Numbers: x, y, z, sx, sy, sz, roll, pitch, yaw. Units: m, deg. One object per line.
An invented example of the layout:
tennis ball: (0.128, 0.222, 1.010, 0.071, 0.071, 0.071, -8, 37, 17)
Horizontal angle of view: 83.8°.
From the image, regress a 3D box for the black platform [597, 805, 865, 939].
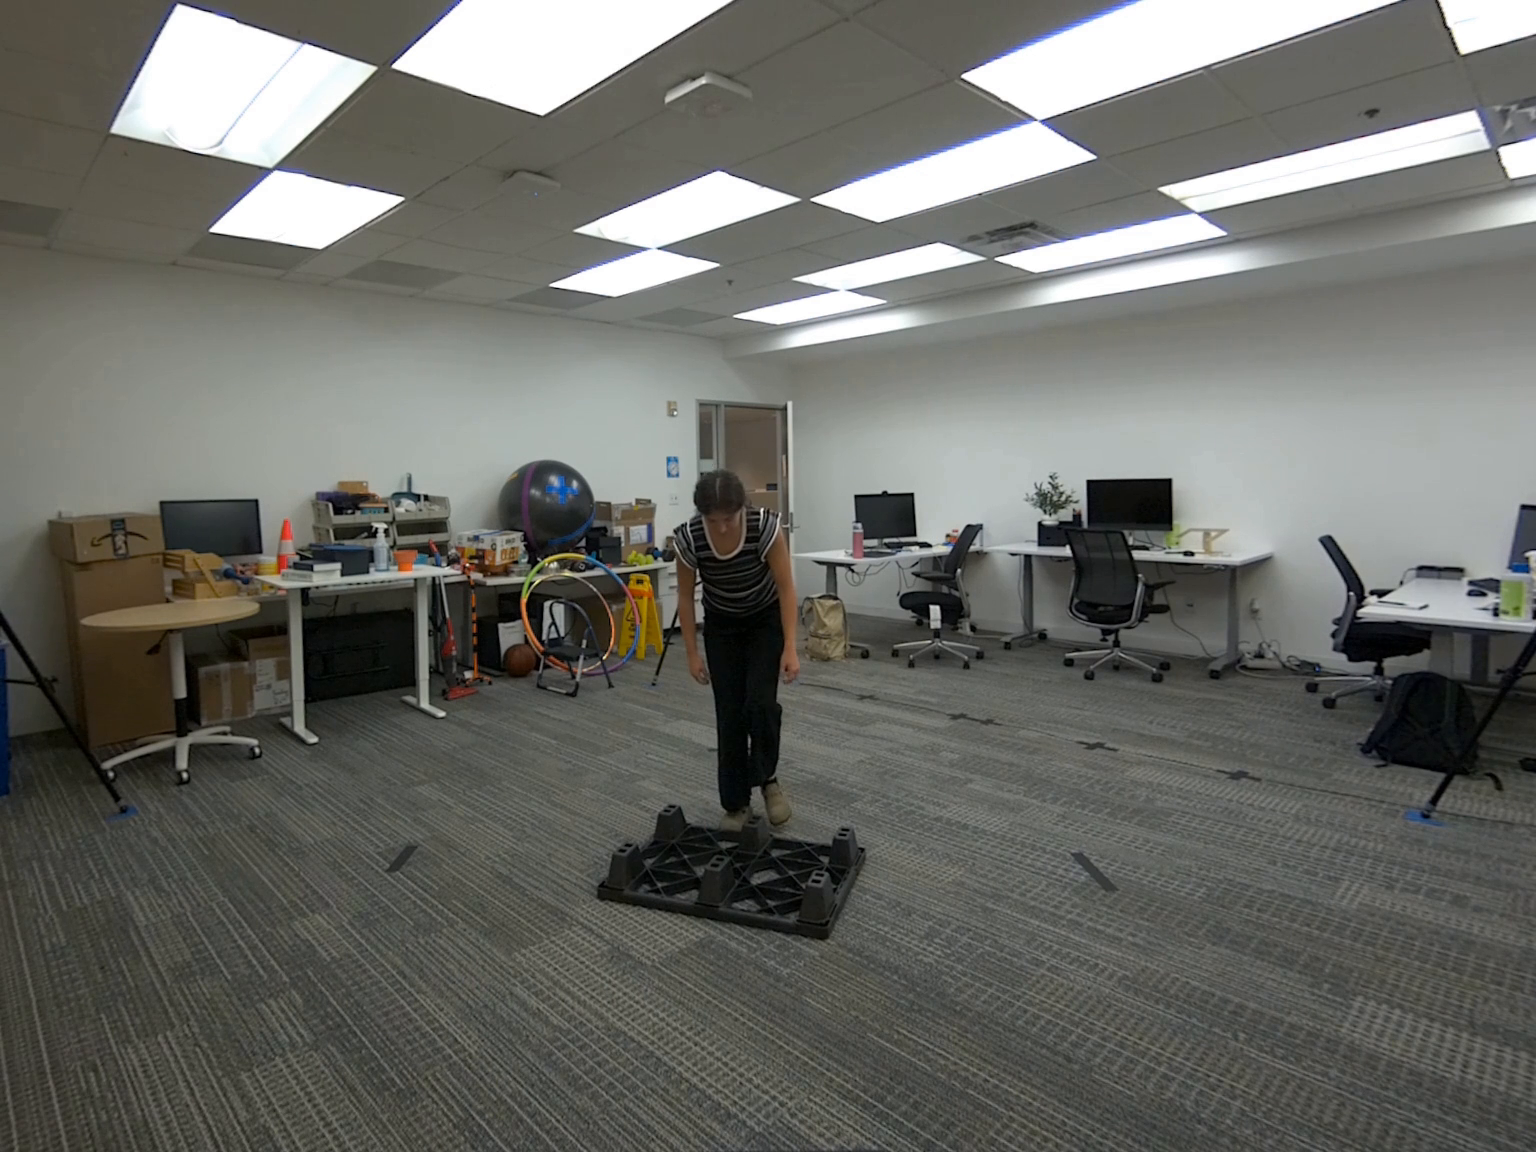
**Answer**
black platform: (-0.103, 0.991, 2.995, 0.821, 0.142, 0.597, 2, 7, 19)
